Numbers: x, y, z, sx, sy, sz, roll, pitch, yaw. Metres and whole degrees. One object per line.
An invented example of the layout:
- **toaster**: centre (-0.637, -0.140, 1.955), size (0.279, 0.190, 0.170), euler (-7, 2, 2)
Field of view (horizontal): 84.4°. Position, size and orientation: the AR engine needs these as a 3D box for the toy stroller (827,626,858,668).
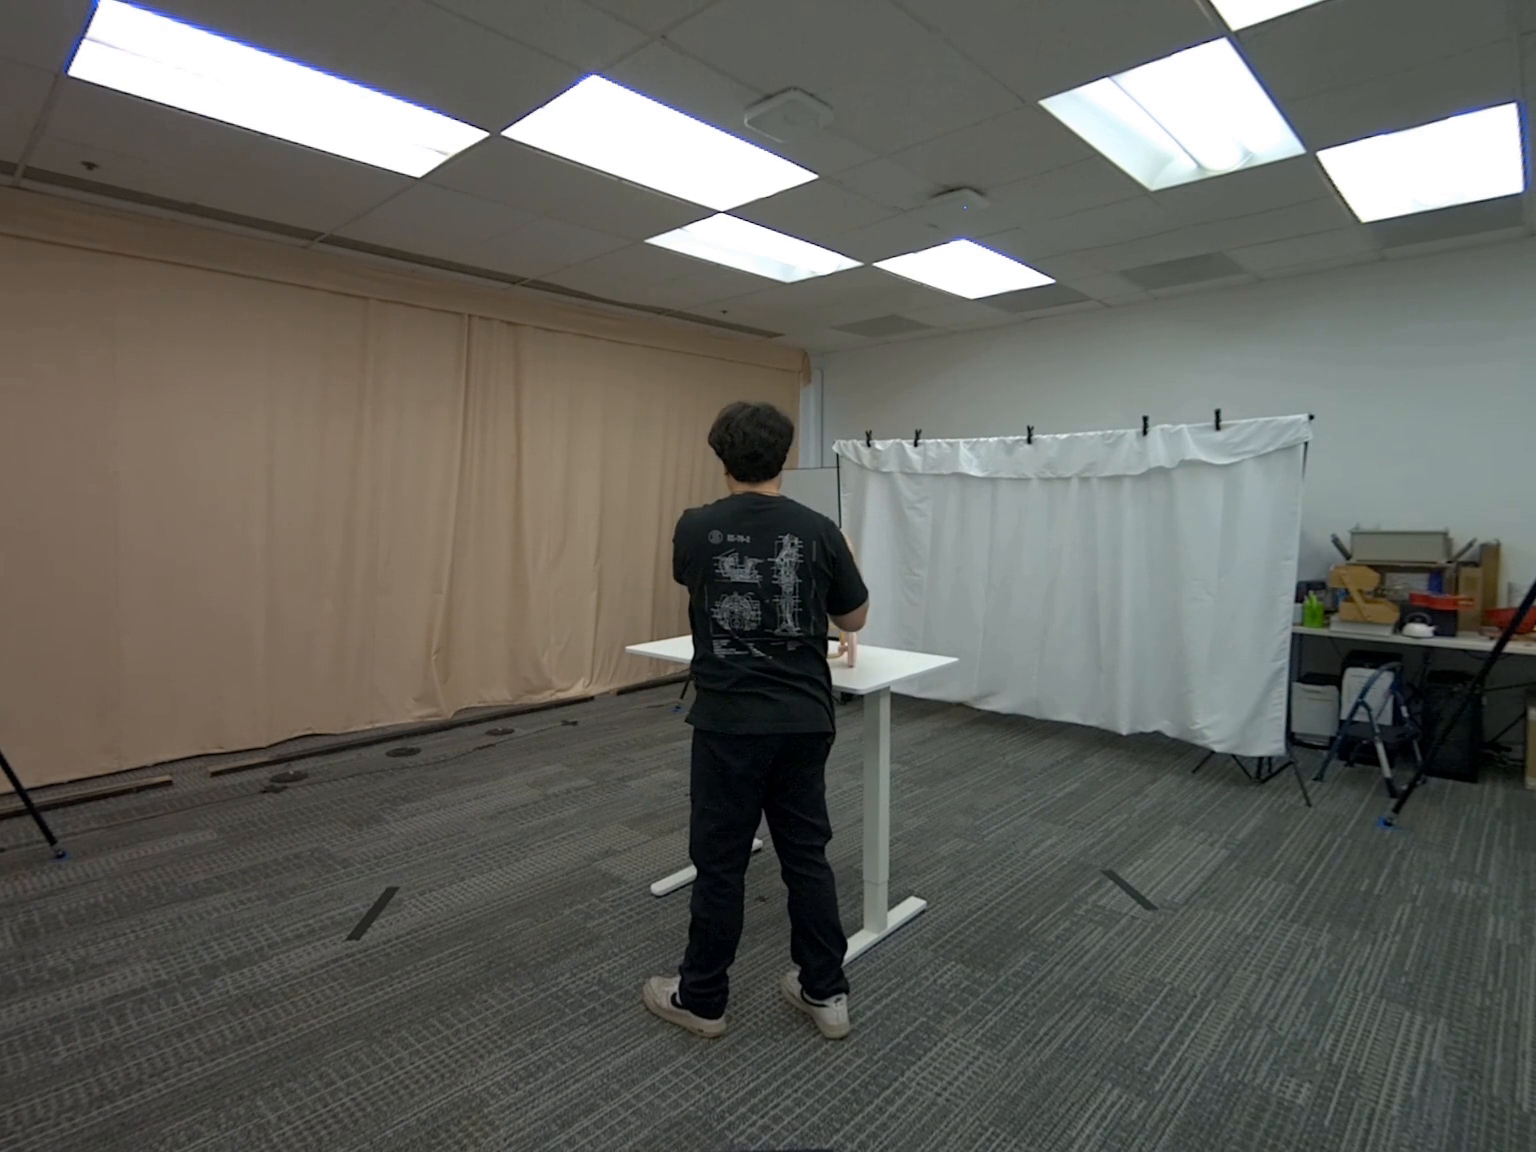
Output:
- **toy stroller**: centre (0.150, 0.061, 2.733), size (0.284, 0.528, 0.342), euler (1, 20, 9)
